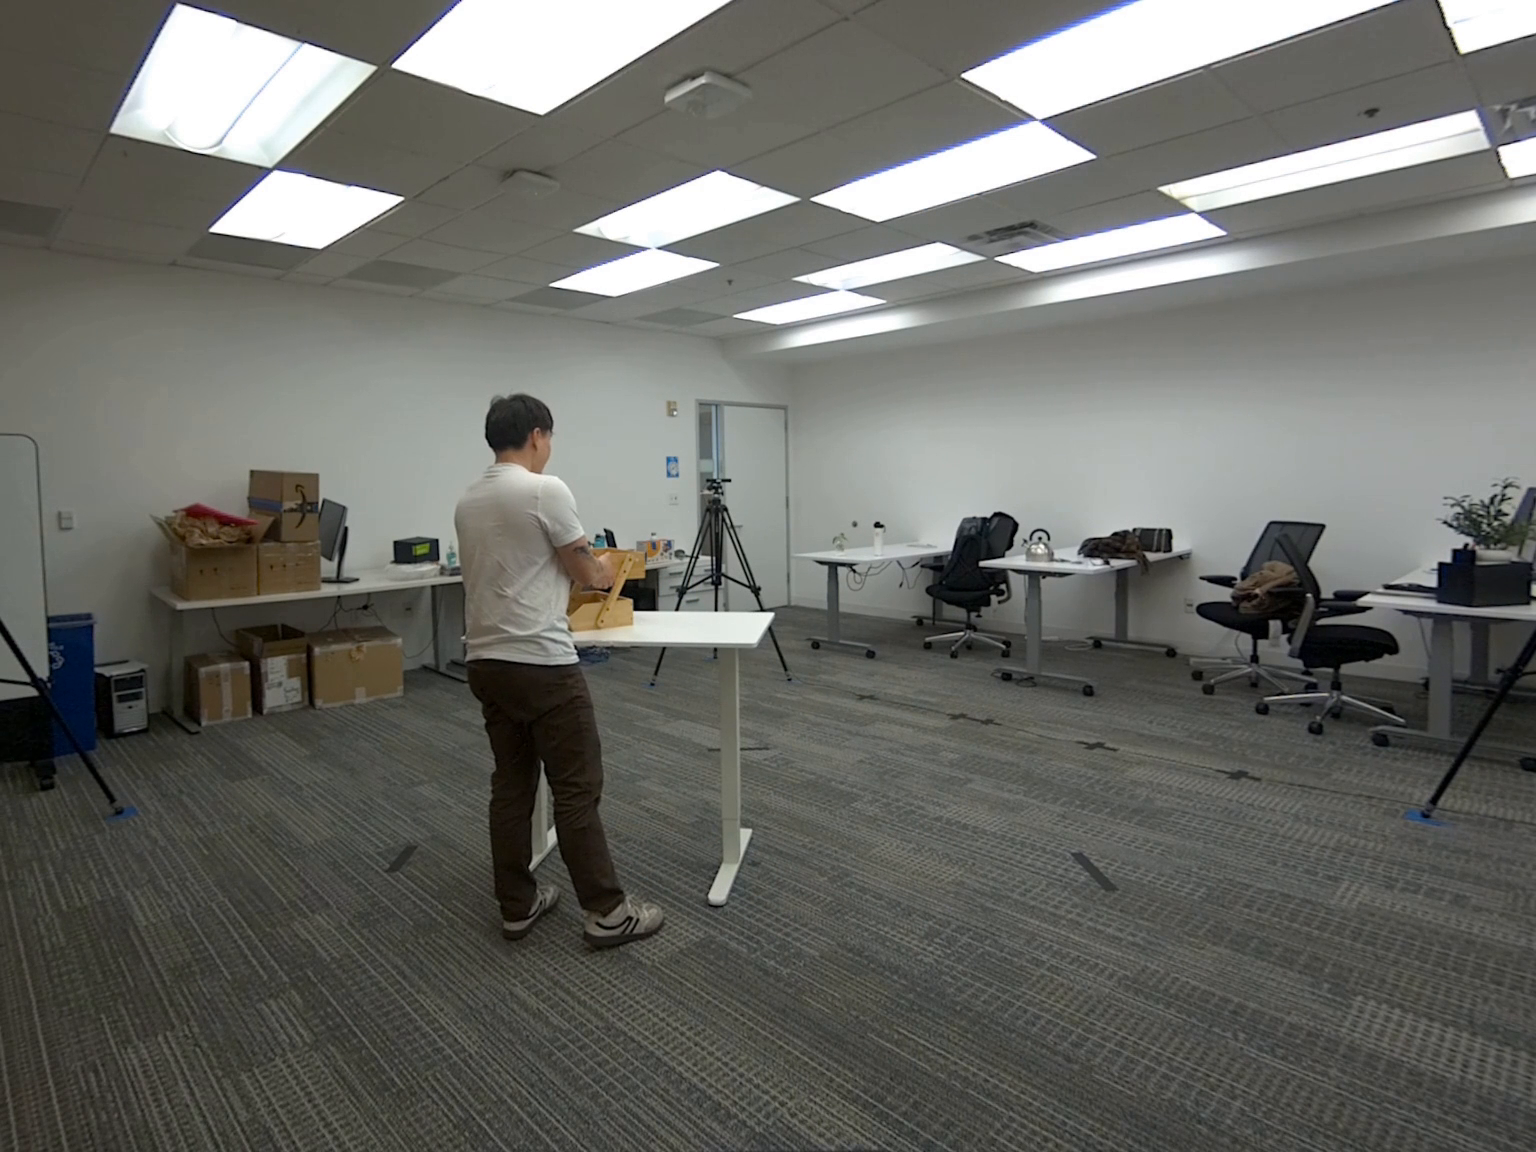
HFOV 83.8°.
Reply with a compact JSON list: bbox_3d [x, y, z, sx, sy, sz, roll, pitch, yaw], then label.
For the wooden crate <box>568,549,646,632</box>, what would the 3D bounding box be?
[{"bbox_3d":[-0.651,0.039,3.134,0.294,0.272,0.334,-4,6,-33],"label":"wooden crate"}]
